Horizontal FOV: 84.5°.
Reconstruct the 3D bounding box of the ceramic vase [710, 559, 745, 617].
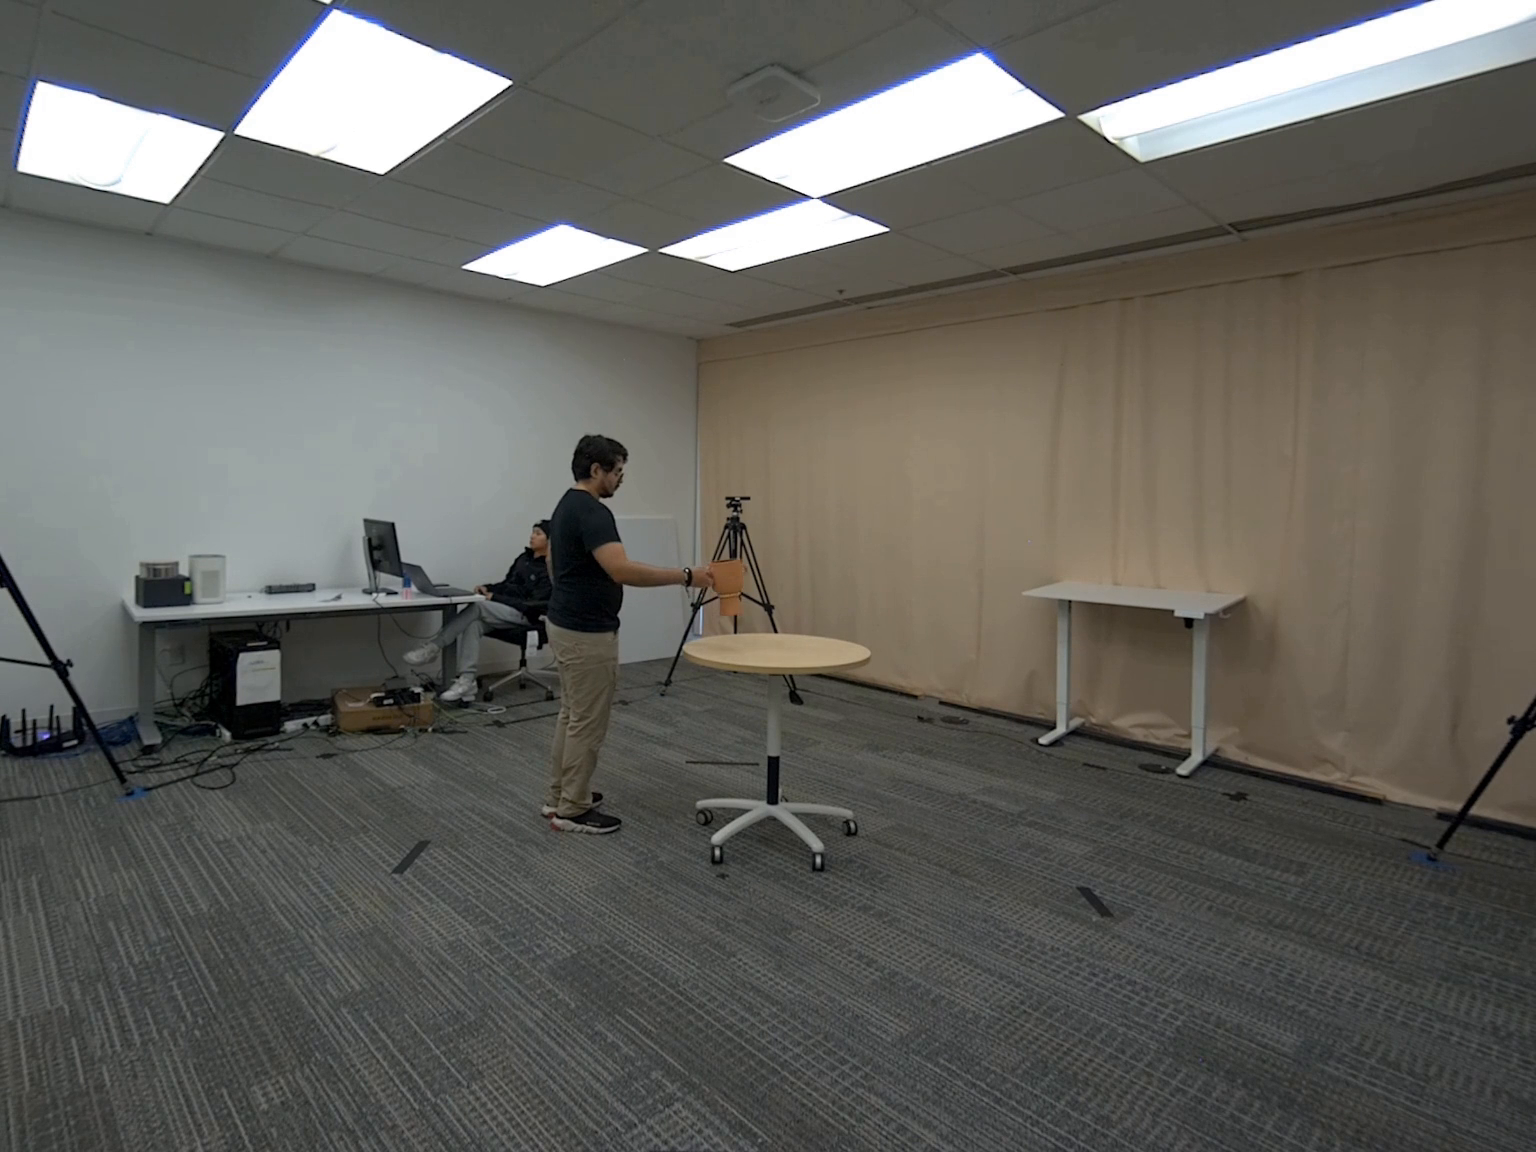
[{"bbox_3d":[-0.175,0.050,3.429,0.132,0.219,0.162,-10,7,-35],"label":"ceramic vase"}]
